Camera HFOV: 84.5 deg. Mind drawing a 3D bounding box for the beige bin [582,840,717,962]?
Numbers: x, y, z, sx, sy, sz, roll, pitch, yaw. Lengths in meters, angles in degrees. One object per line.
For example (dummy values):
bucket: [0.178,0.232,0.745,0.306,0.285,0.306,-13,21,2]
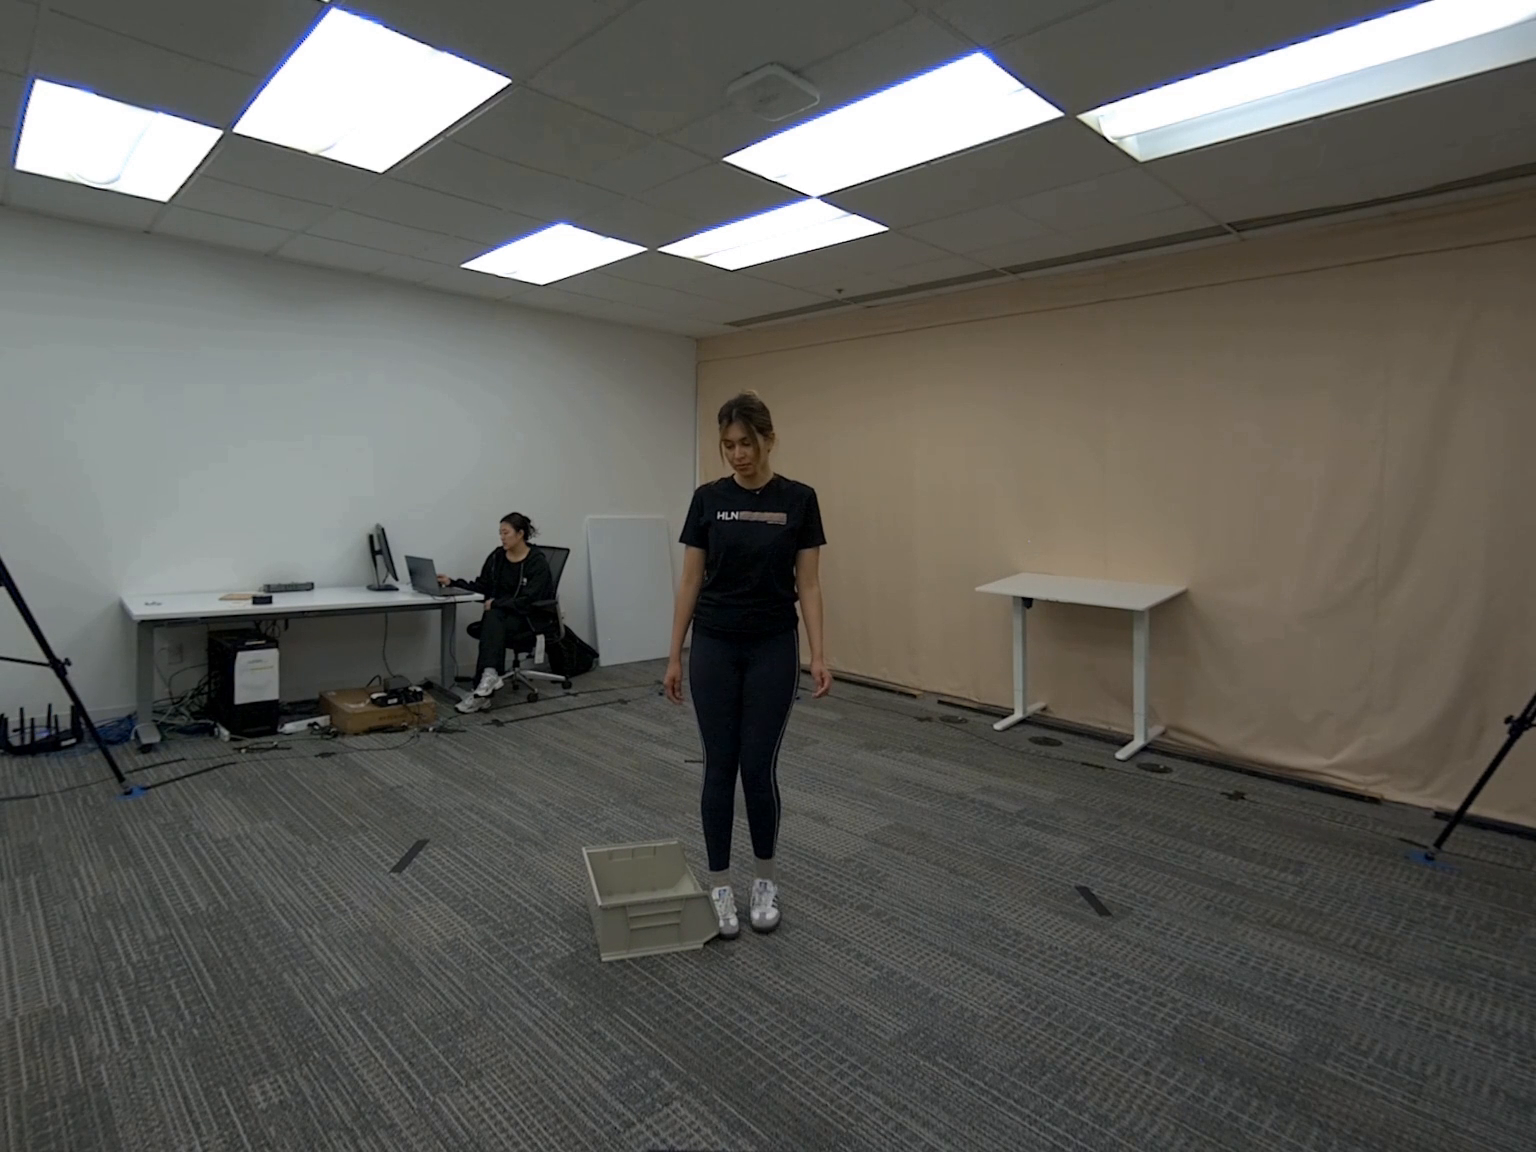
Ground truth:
beige bin: [-0.400,1.043,2.739,0.372,0.188,0.430,-1,6,-18]
